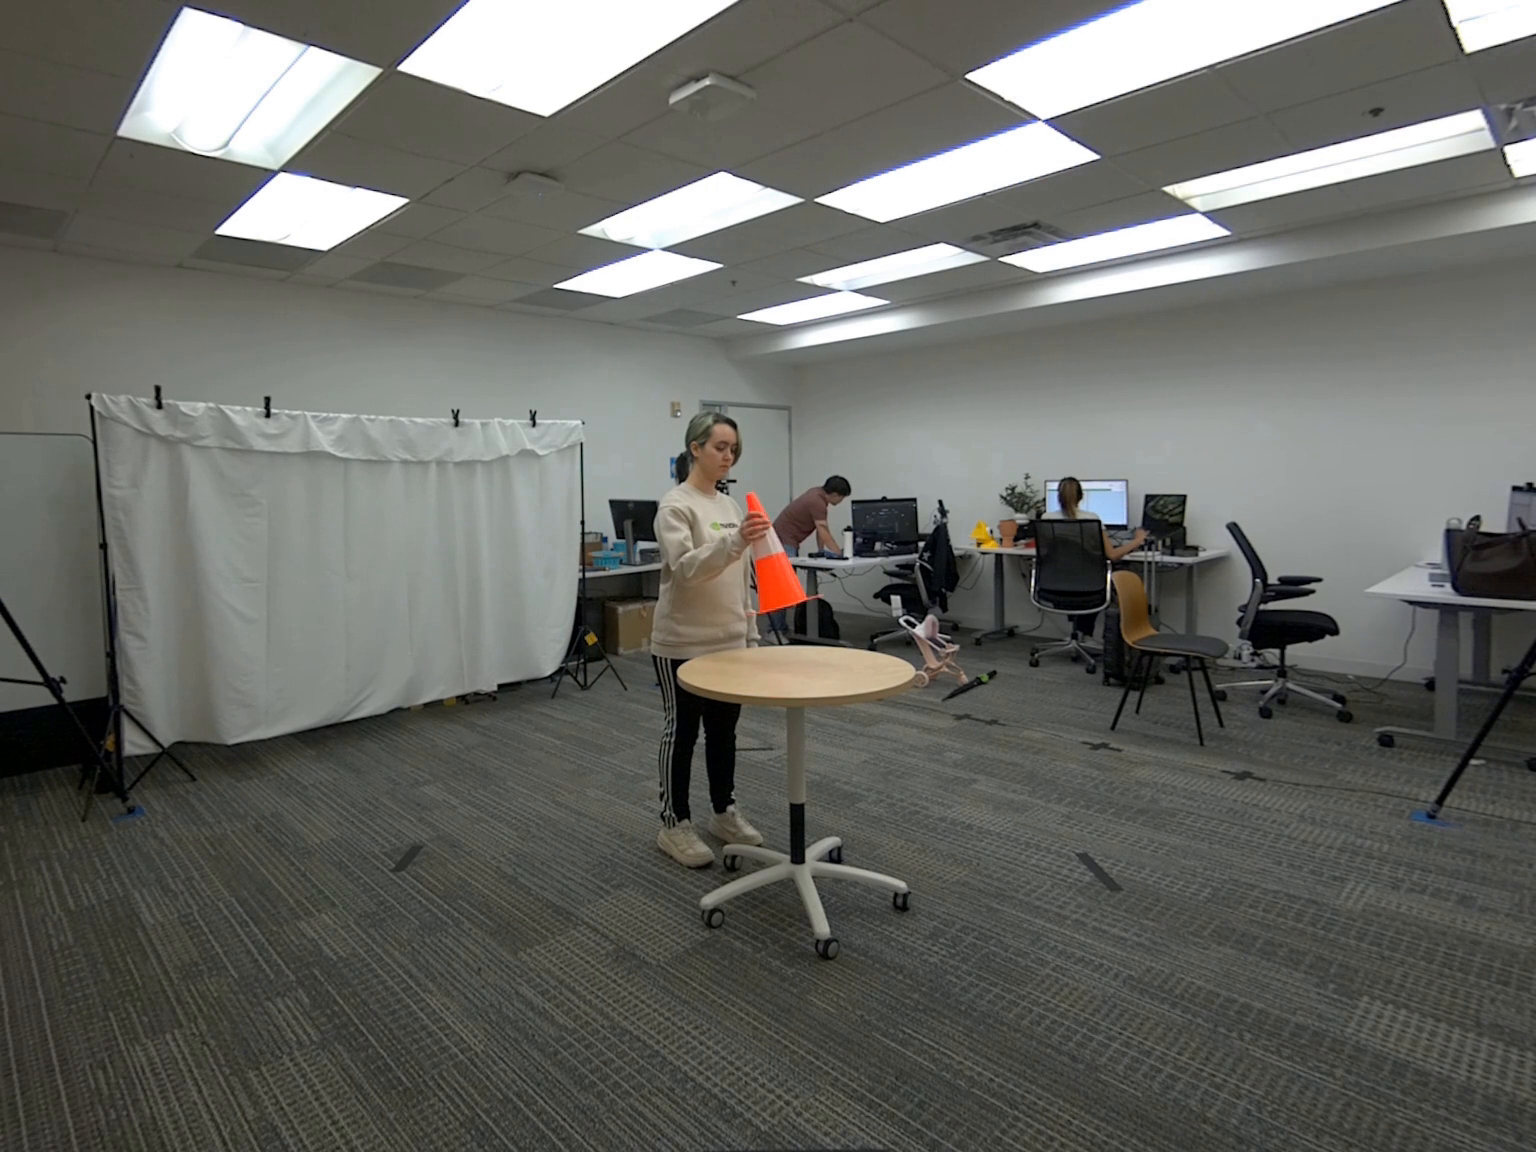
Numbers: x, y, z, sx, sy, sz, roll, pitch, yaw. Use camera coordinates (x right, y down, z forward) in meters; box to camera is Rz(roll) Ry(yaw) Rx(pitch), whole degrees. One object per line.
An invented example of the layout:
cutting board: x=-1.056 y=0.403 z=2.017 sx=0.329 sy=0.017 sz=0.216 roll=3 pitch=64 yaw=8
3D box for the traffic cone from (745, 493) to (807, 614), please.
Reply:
traffic cone: x=-0.001 y=-0.077 z=2.762 sx=0.200 sy=0.385 sz=0.207 roll=-15 pitch=-2 yaw=-44
